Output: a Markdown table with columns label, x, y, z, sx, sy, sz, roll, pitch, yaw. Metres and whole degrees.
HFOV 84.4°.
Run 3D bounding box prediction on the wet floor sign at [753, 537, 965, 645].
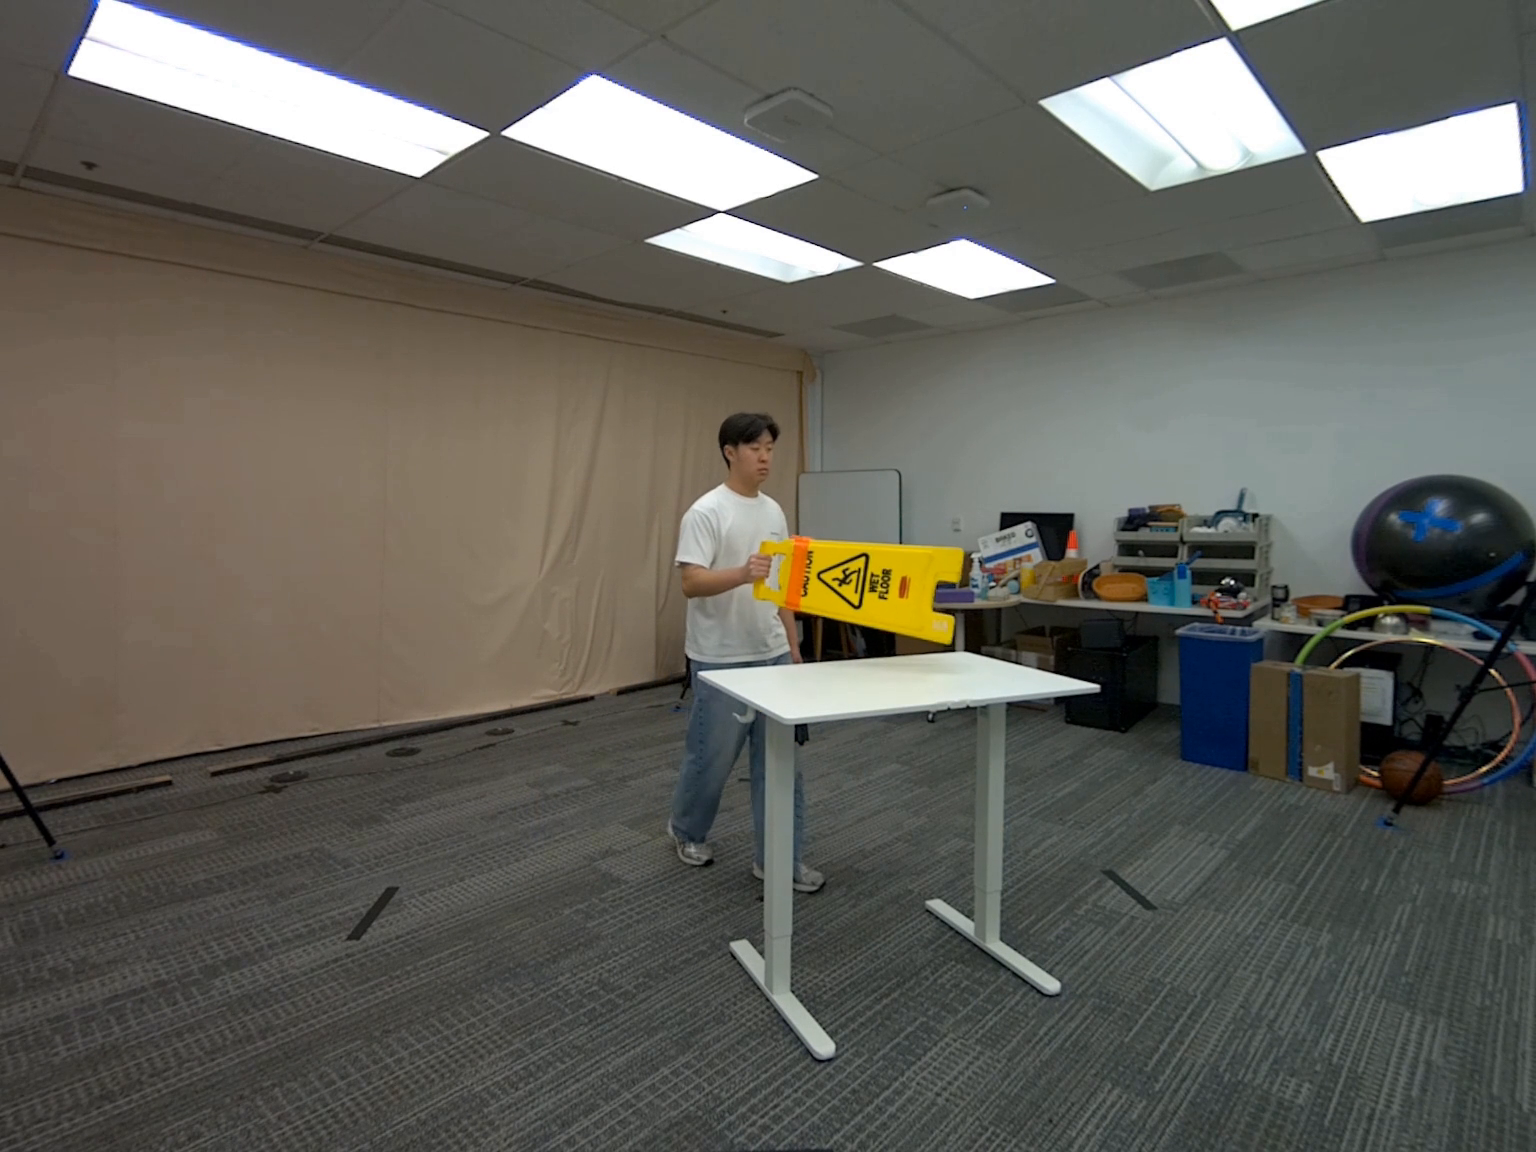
| label | x | y | z | sx | sy | sz | roll | pitch | yaw |
| --- | --- | --- | --- | --- | --- | --- | --- | --- | --- |
| wet floor sign | 0.282 | 0.025 | 2.701 | 0.657 | 0.283 | 0.284 | 8 | -4 | 14 |
